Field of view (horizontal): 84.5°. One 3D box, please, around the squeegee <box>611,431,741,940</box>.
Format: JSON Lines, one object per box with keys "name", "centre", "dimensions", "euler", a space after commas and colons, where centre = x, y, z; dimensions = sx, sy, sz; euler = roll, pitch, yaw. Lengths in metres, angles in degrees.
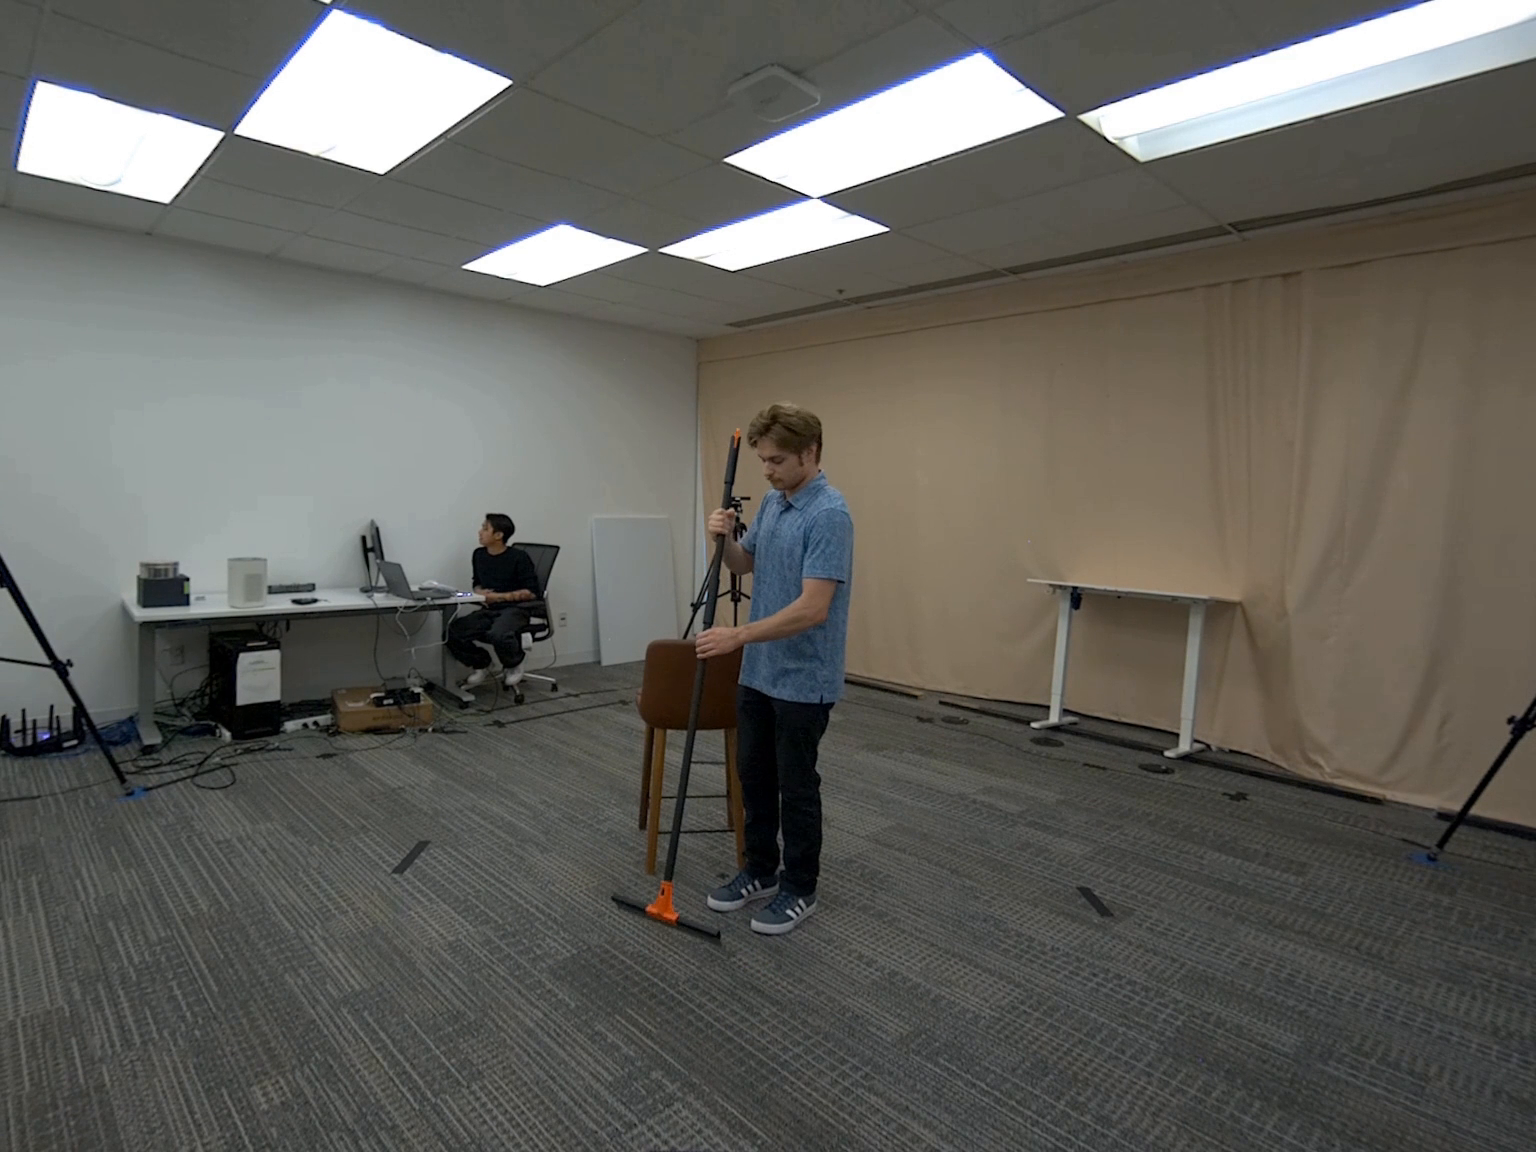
{"name": "squeegee", "centre": [-0.219, 0.291, 2.574], "dimensions": [0.447, 1.549, 0.051], "euler": [-3, -15, 40]}
